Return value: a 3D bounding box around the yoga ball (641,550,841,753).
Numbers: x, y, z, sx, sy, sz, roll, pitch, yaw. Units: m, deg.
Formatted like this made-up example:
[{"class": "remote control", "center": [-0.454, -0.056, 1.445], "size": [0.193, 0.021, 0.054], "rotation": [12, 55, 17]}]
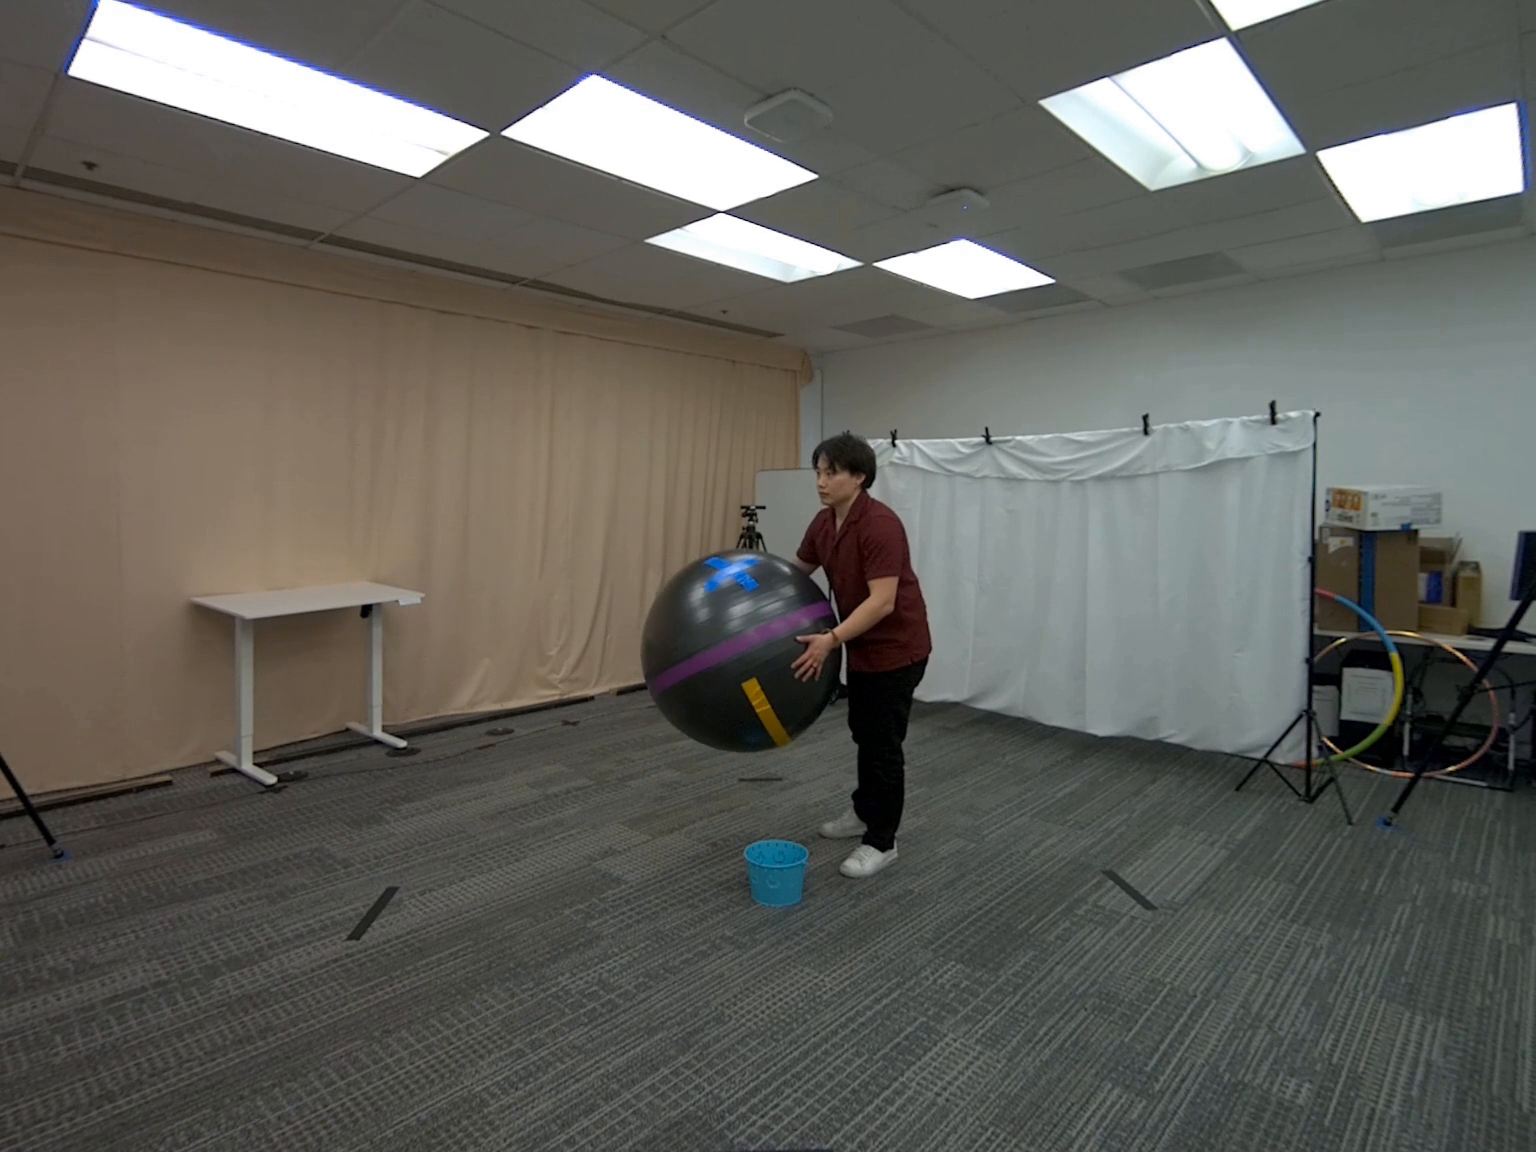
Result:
[{"class": "yoga ball", "center": [-0.101, 0.285, 3.179], "size": [0.757, 0.756, 0.761], "rotation": [0, 4, -2]}]
